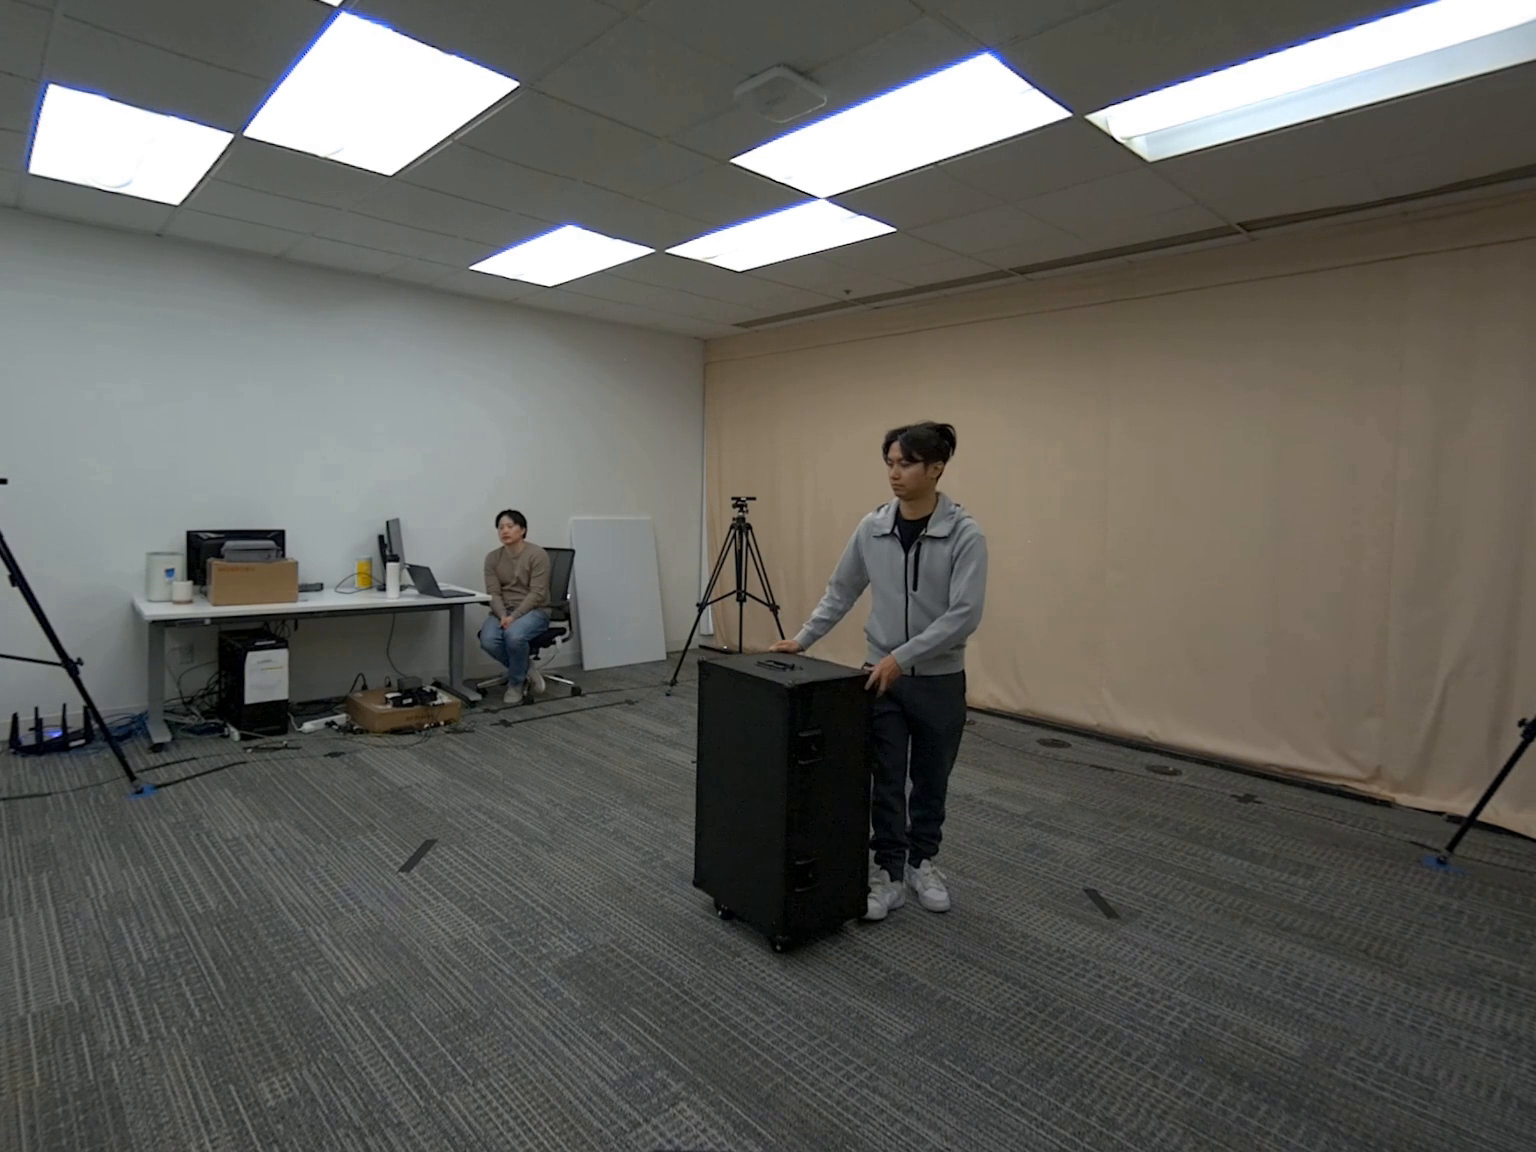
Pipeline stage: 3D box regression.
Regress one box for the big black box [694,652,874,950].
[{"bbox_3d":[0.040,0.715,2.767,0.387,0.860,0.534,0,3,-38],"label":"big black box"}]
